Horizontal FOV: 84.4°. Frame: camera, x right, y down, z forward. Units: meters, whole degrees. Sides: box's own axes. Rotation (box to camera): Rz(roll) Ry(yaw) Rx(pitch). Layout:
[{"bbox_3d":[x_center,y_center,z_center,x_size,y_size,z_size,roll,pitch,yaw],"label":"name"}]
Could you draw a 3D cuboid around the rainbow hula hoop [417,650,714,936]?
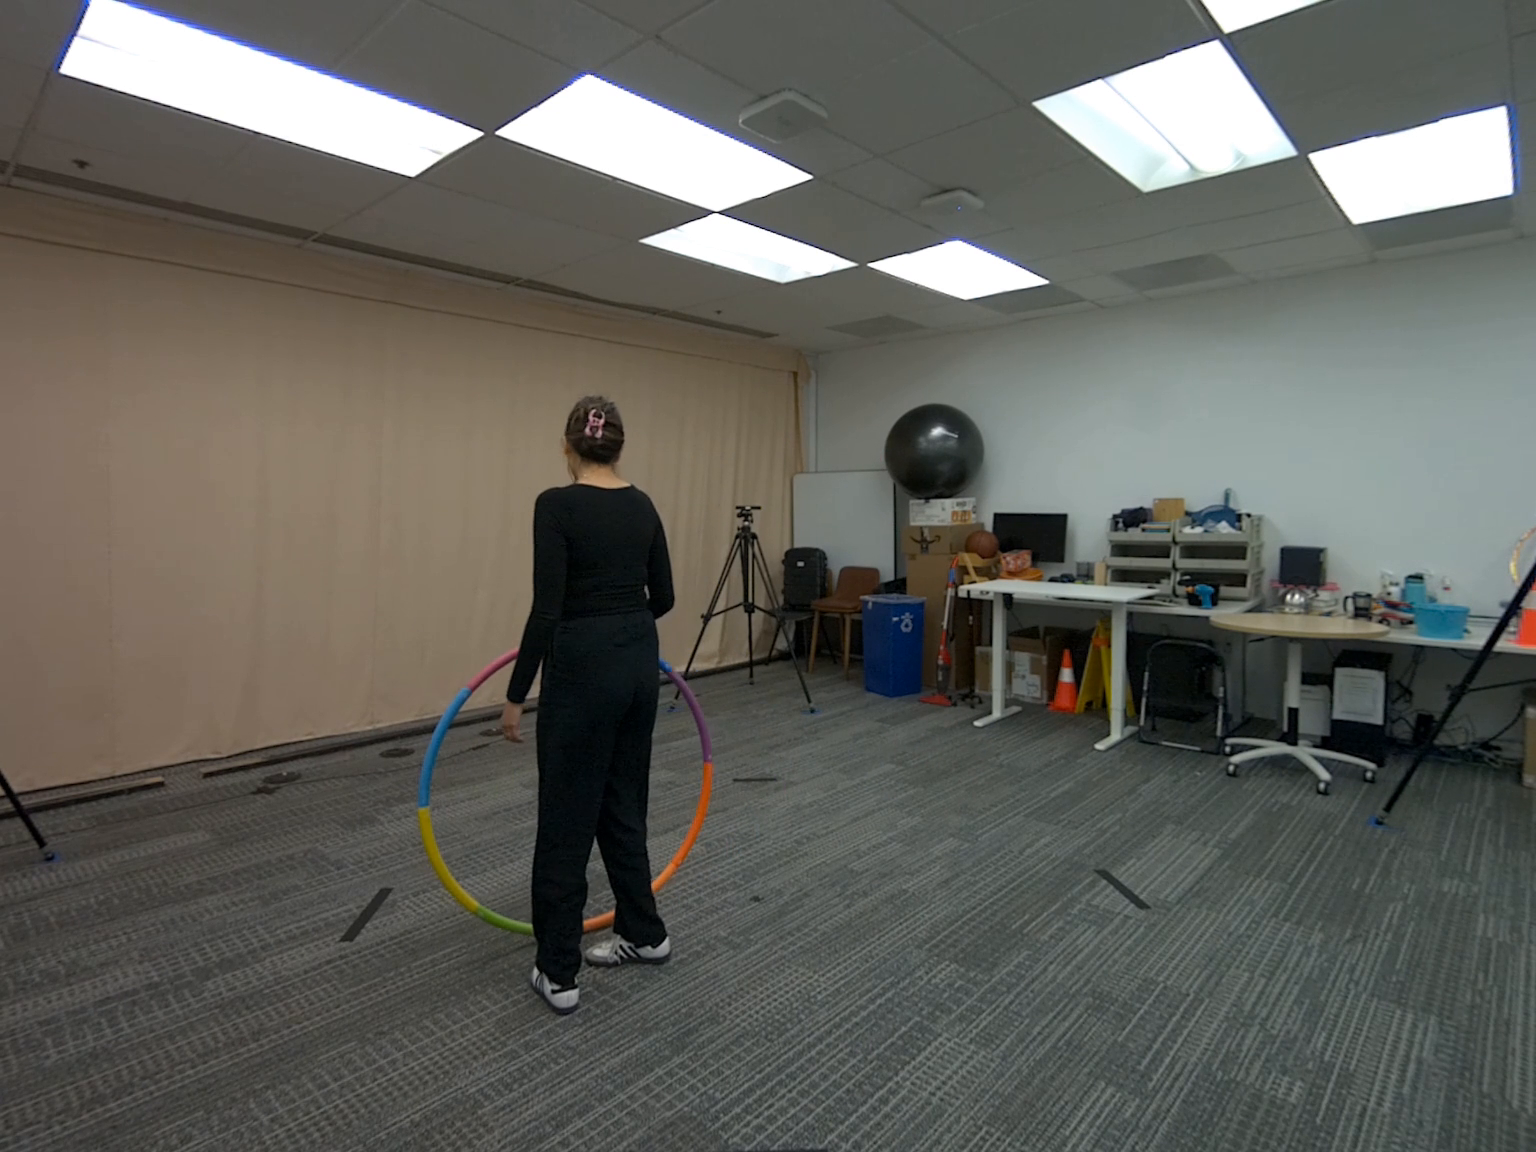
[{"bbox_3d":[-0.603,0.680,2.764,0.954,0.979,0.036,-2,-1,-26],"label":"rainbow hula hoop"}]
